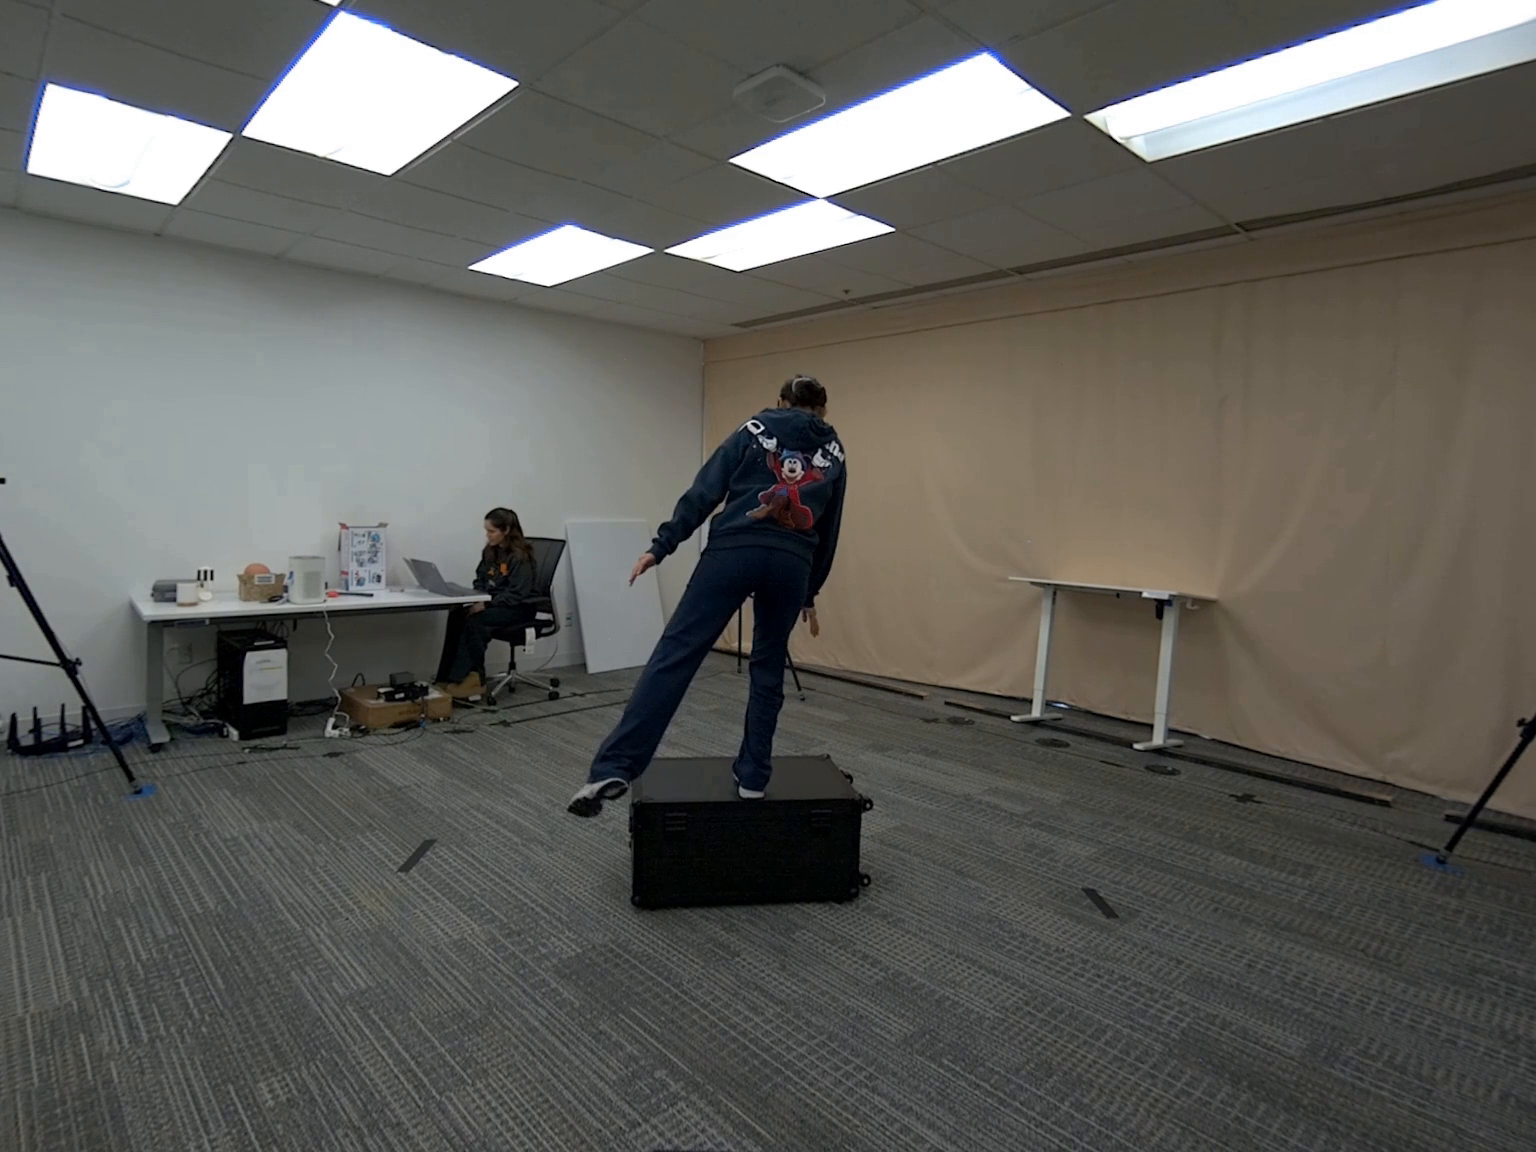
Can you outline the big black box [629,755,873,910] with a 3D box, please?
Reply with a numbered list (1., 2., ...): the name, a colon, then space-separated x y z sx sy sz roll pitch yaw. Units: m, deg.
1. big black box: -0.075 0.920 3.089 0.855 0.395 0.527 0 5 -9
